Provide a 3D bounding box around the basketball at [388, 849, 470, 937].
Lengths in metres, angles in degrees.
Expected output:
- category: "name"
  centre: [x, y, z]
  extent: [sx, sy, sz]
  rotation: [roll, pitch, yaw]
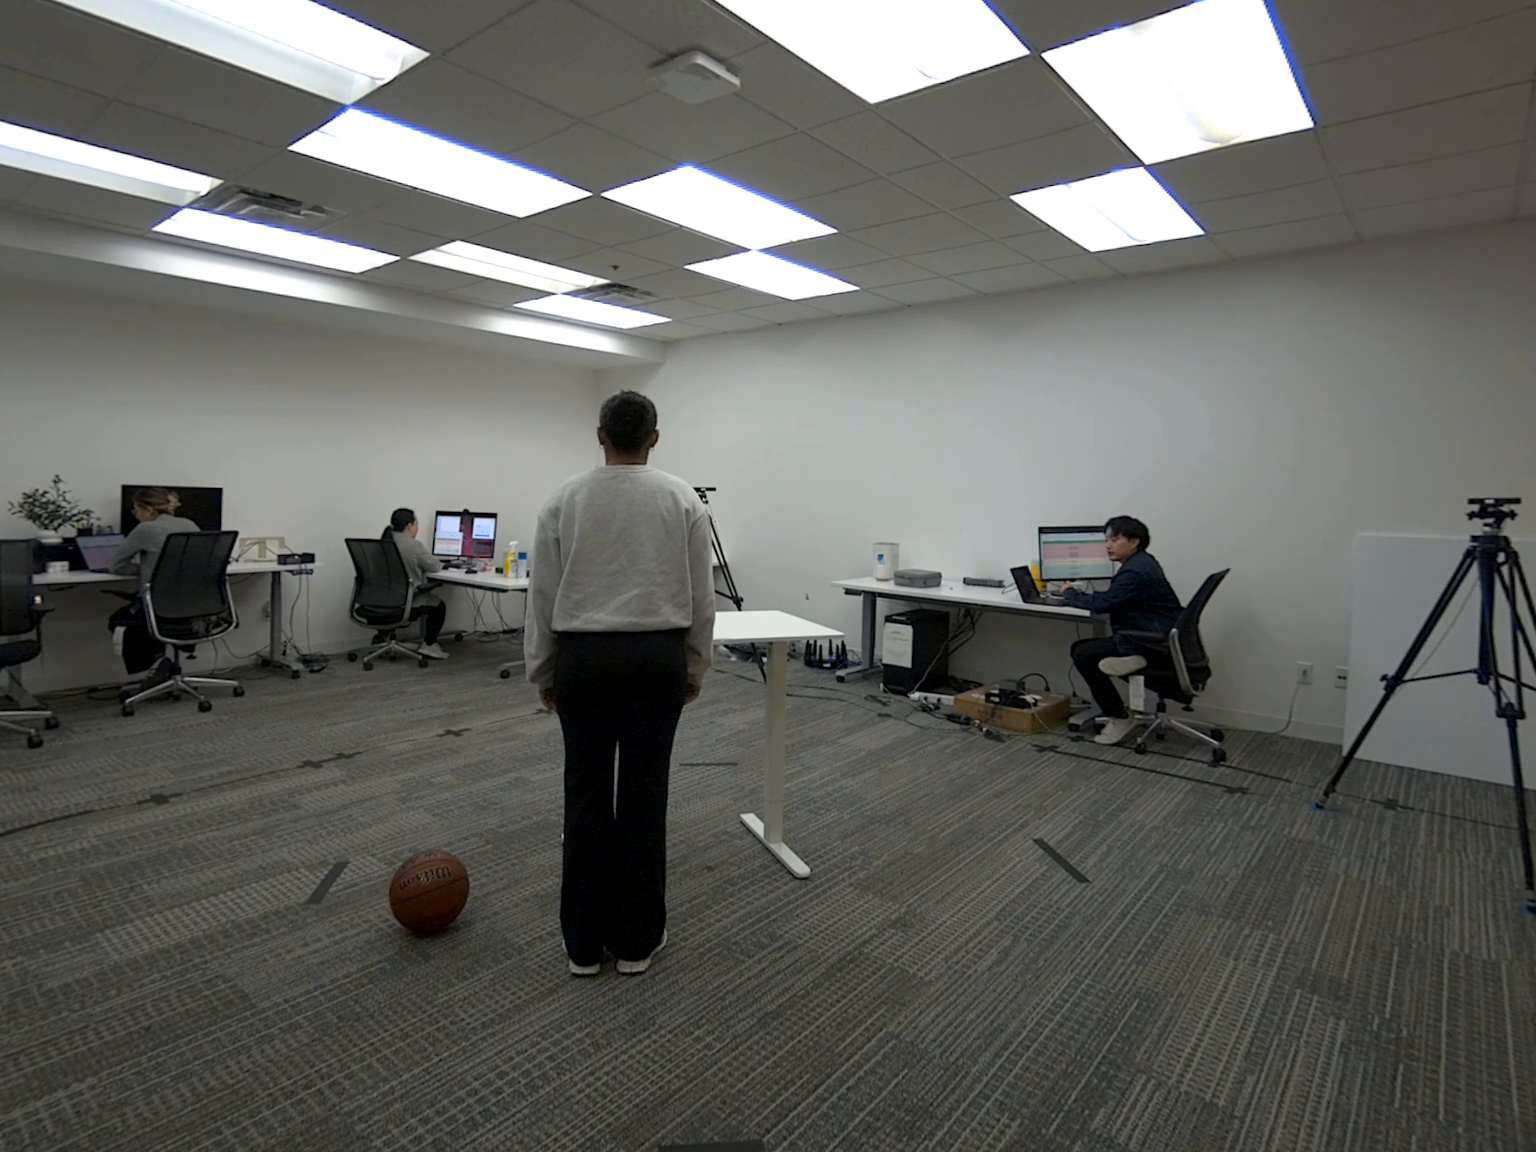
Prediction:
- category: "basketball"
  centre: [-1.063, 0.978, 2.651]
  extent: [0.235, 0.235, 0.237]
  rotation: [1, 4, -2]
